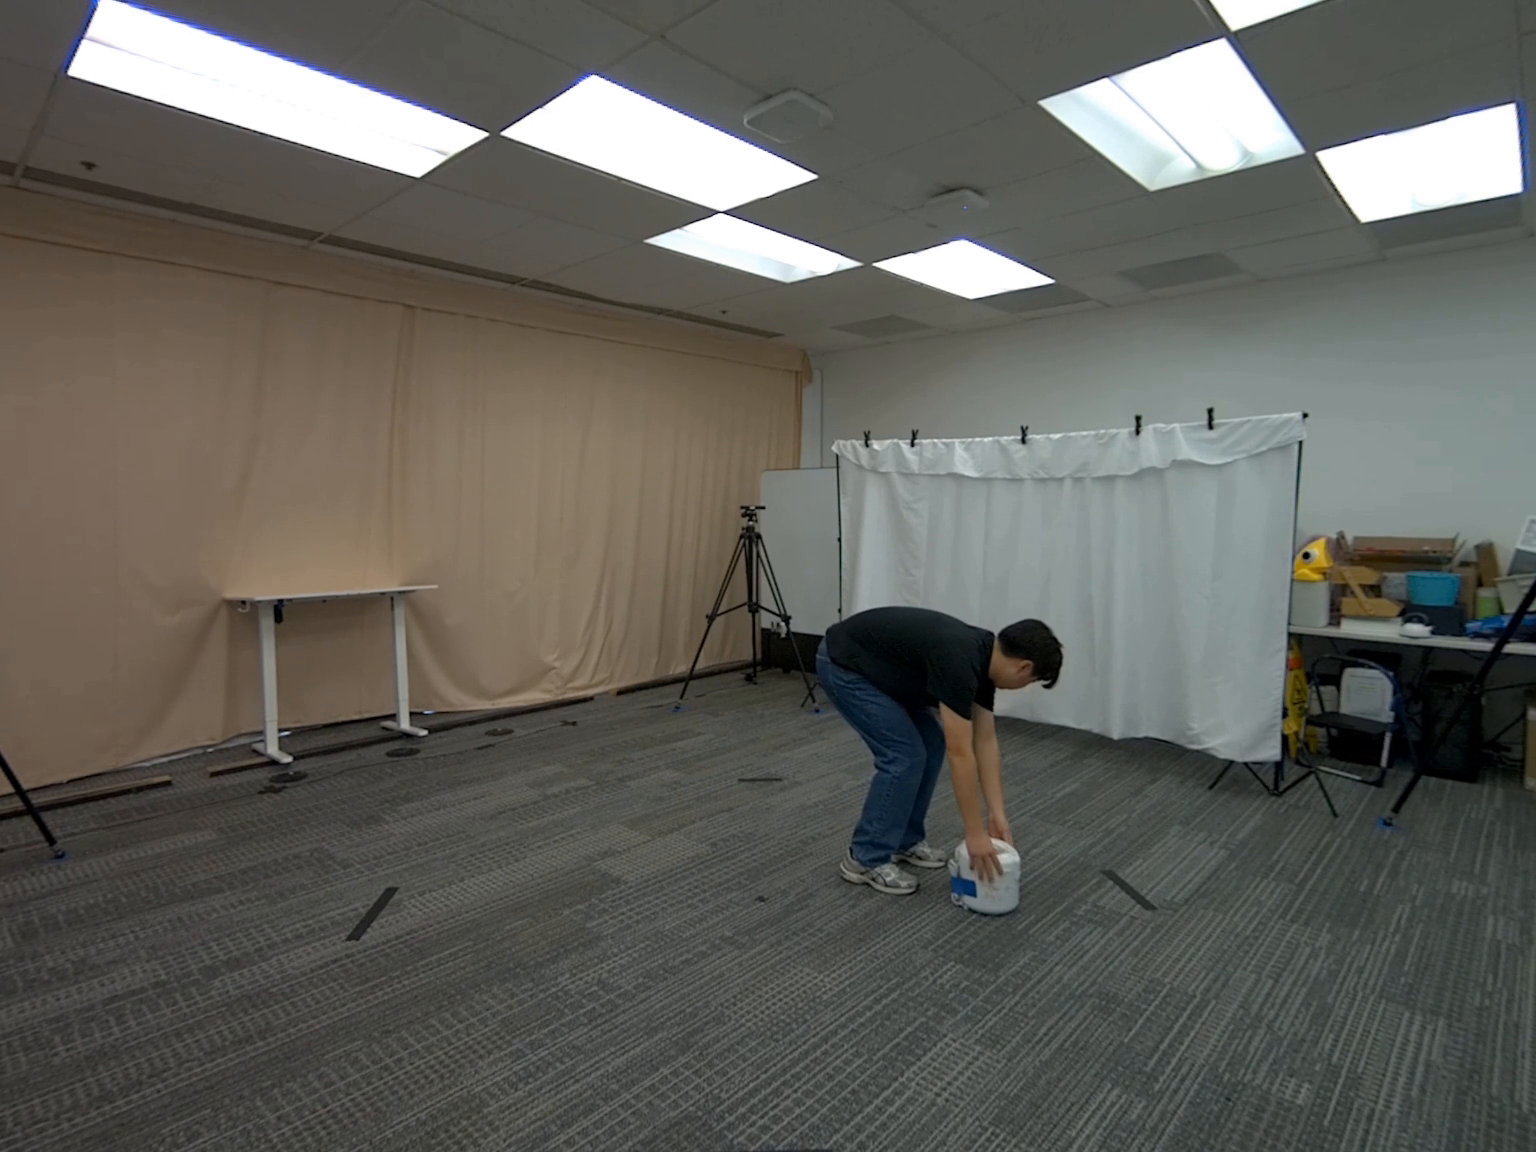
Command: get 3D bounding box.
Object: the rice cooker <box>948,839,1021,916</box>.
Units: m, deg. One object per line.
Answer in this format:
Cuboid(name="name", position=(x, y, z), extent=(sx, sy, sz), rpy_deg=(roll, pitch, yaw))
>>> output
Cuboid(name="rice cooker", position=(0.771, 1.029, 2.936), extent=(0.227, 0.232, 0.211), rpy_deg=(3, 4, 34))
